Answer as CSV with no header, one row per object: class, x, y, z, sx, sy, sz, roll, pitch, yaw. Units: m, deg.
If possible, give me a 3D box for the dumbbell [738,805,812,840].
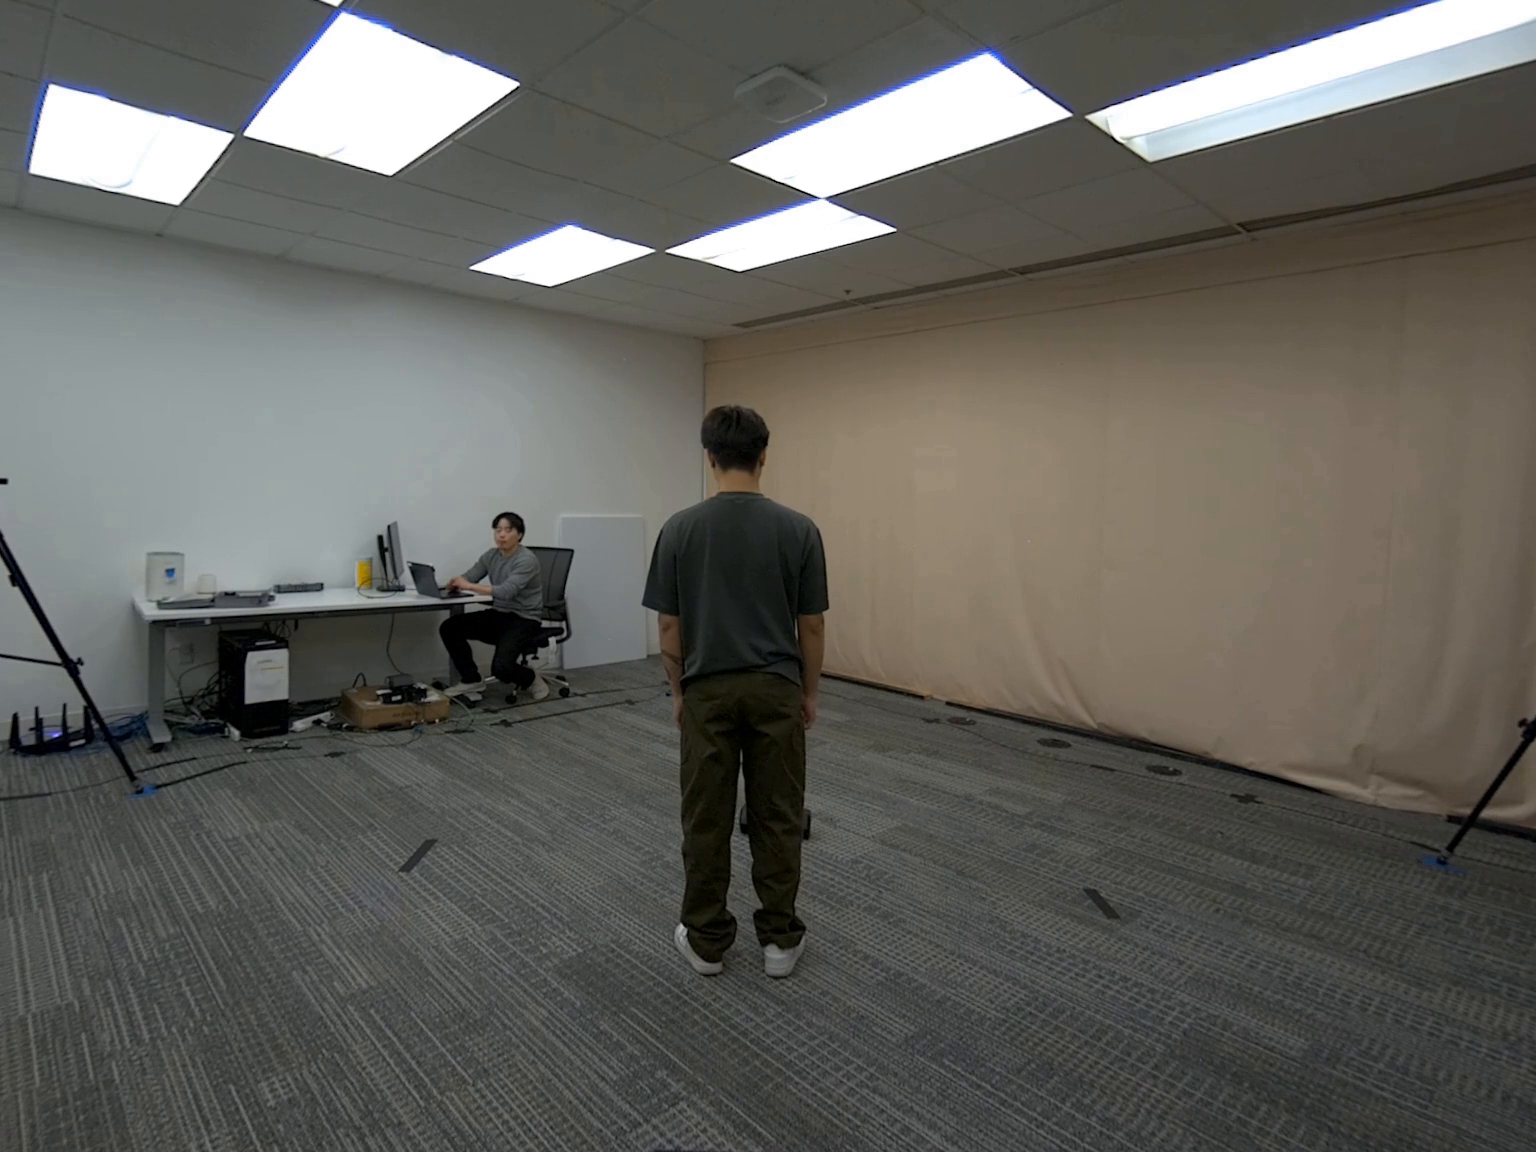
dumbbell,0.024,1.026,3.509,0.296,0.125,0.106,2,-27,9
